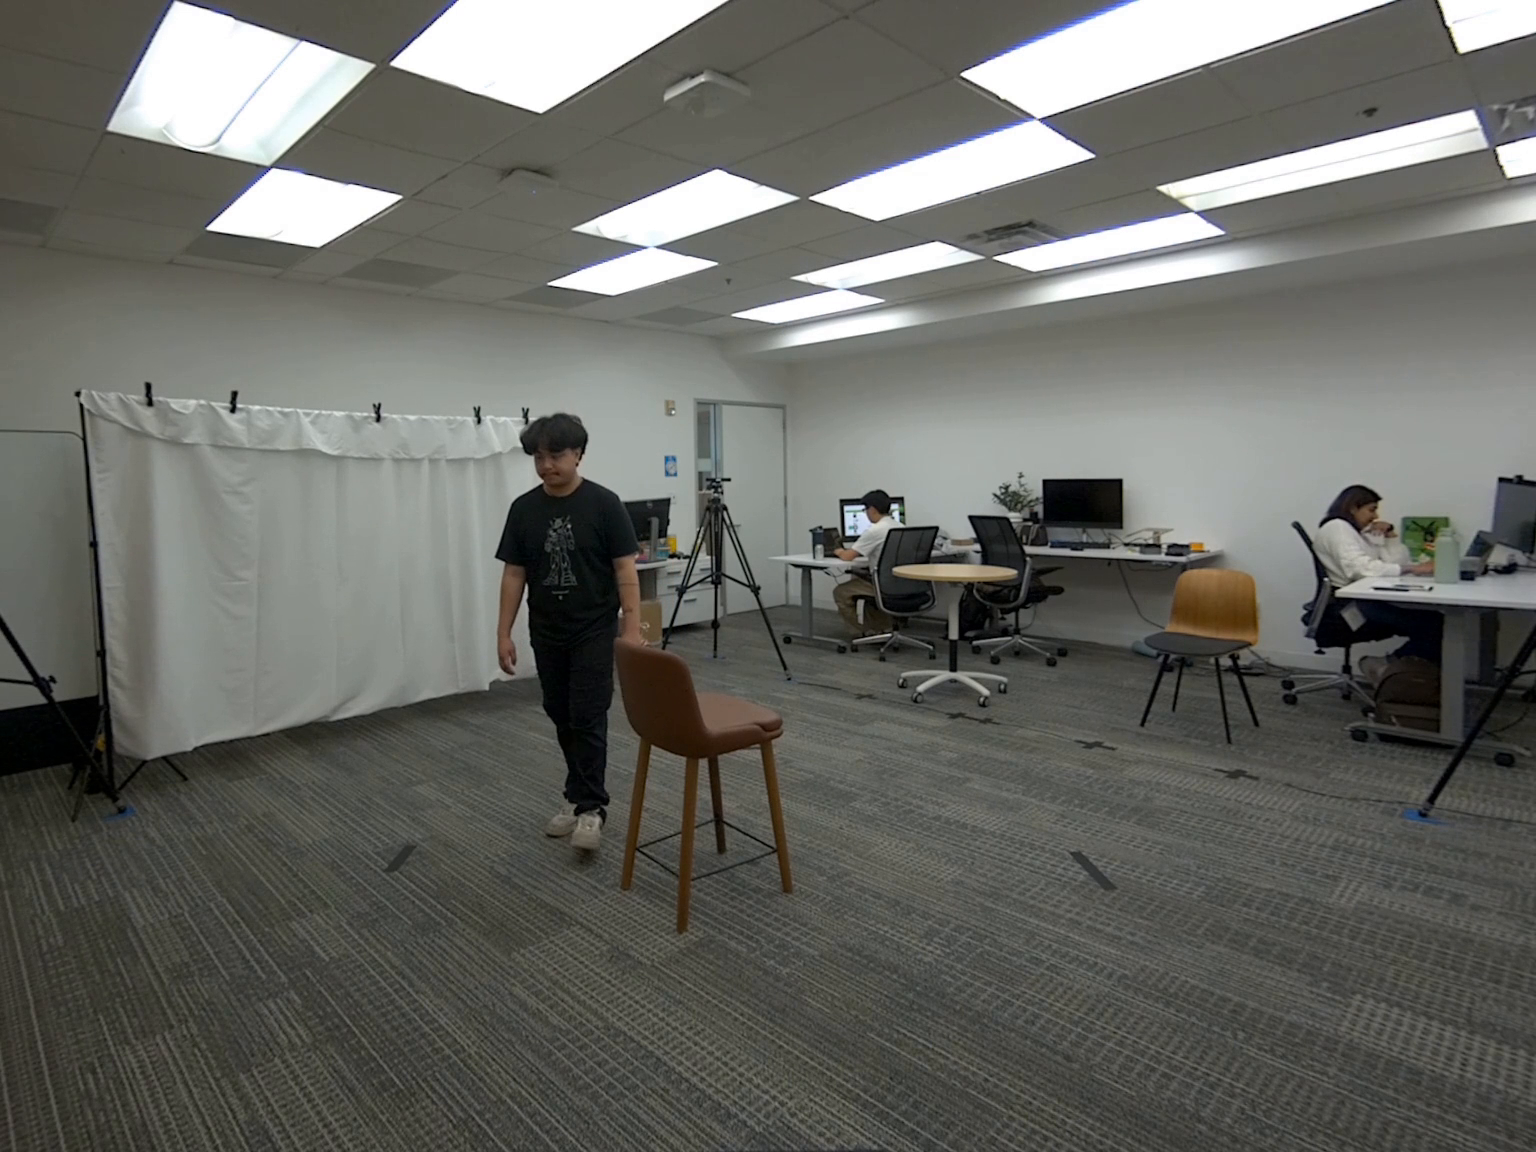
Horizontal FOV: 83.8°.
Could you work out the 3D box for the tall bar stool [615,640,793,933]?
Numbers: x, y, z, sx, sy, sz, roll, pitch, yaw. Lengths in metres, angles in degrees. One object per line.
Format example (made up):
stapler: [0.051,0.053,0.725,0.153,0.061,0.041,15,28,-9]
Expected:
tall bar stool: [-0.225,0.638,2.880,0.456,0.885,0.470,-6,7,-37]
